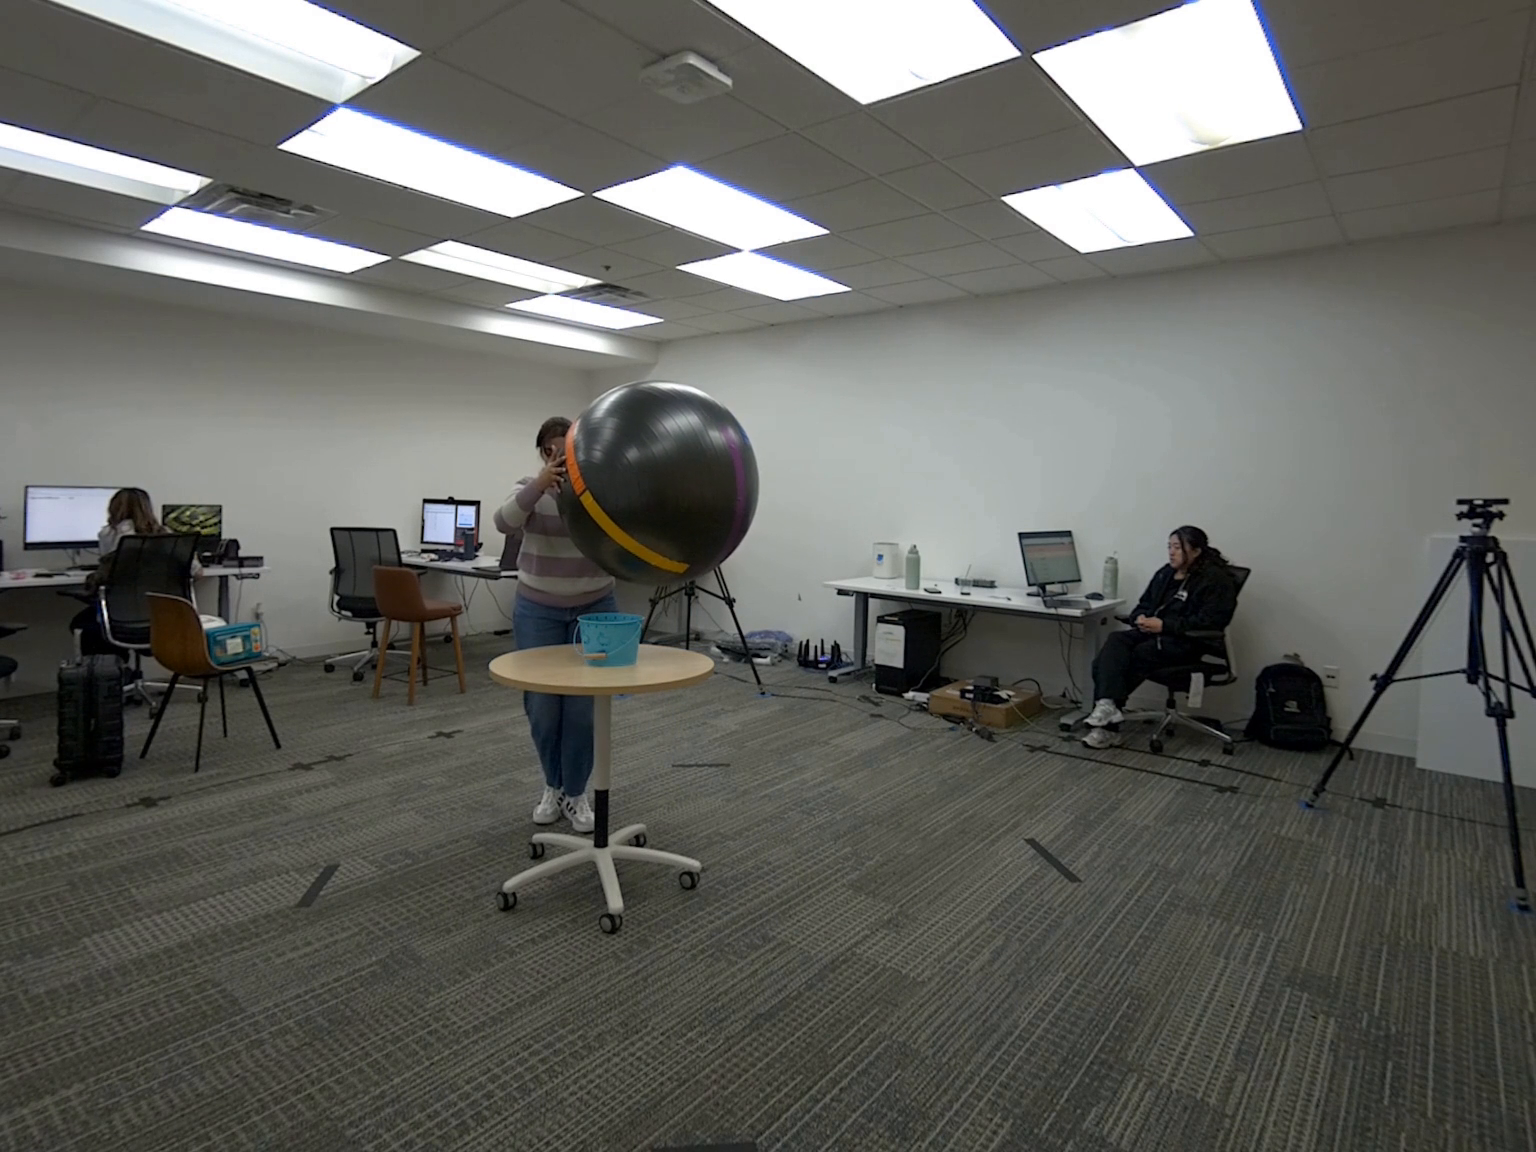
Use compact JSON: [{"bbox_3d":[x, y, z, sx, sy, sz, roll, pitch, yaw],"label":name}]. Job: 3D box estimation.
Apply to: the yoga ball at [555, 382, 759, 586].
[{"bbox_3d":[-0.420,-0.339,3.154,0.757,0.755,0.762,1,4,-2],"label":"yoga ball"}]
